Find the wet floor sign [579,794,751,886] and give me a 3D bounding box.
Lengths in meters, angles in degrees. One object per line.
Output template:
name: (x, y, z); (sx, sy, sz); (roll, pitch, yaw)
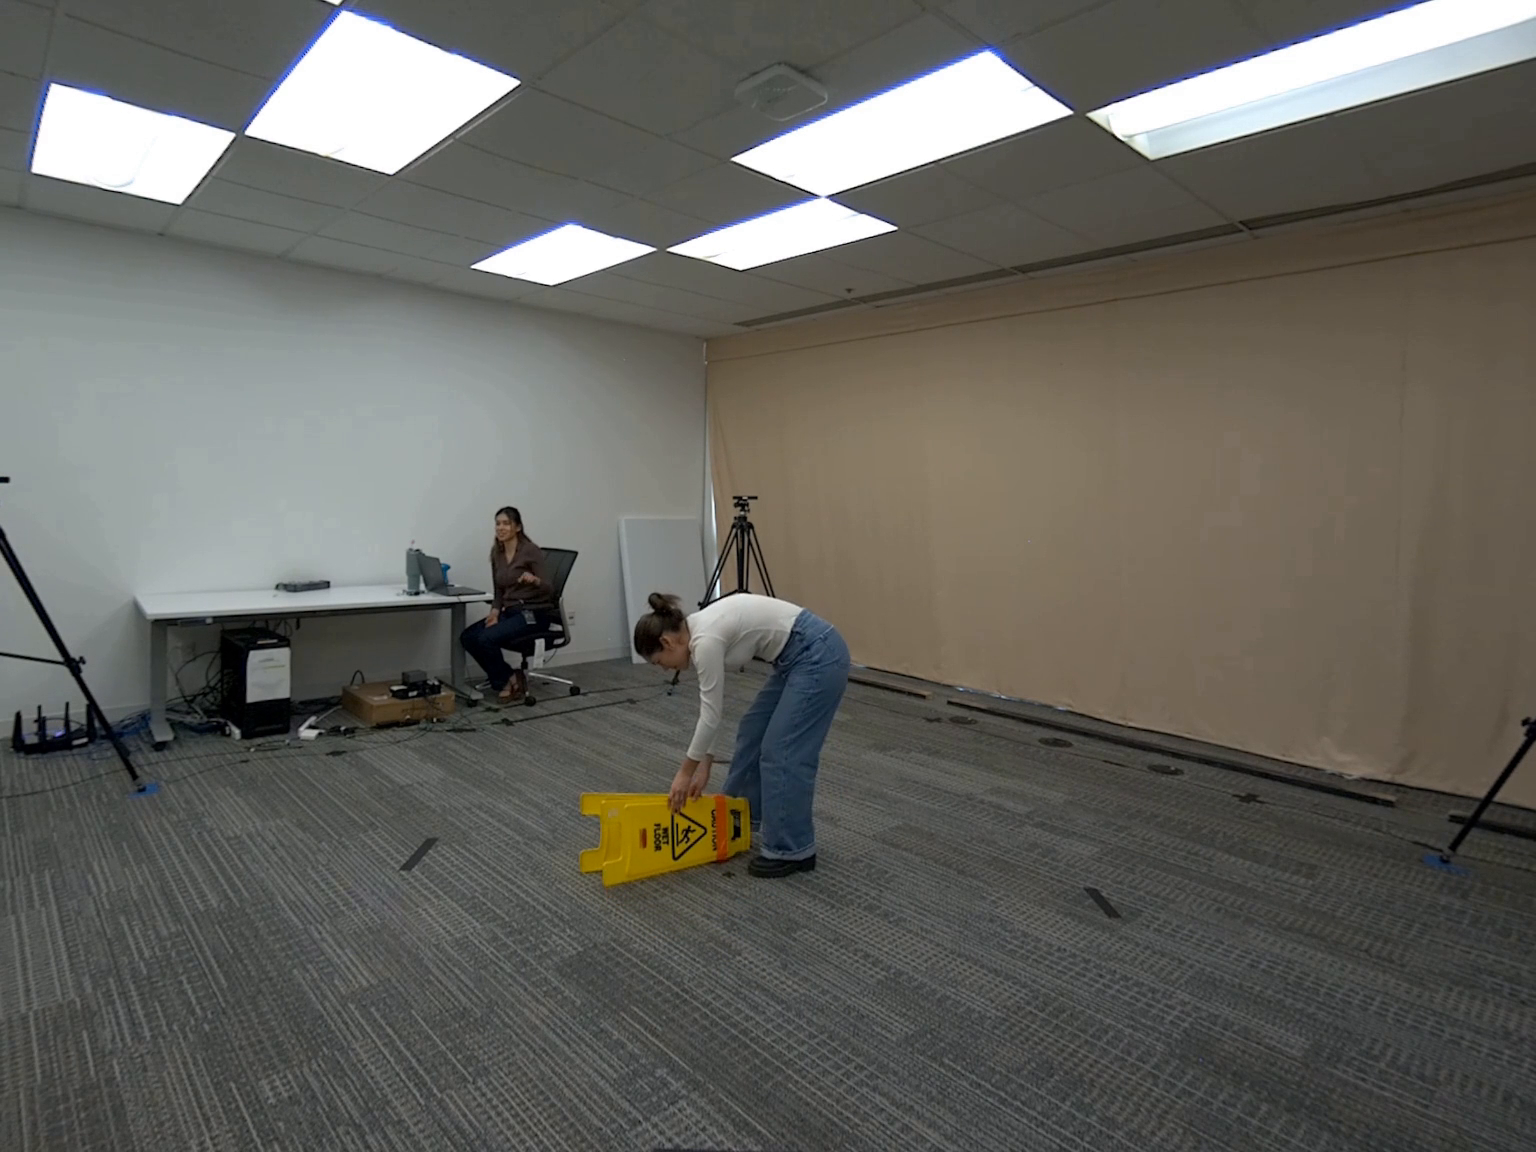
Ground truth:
wet floor sign: (-0.364, 0.961, 3.158); (0.633, 0.284, 0.293); (3, -11, -27)
